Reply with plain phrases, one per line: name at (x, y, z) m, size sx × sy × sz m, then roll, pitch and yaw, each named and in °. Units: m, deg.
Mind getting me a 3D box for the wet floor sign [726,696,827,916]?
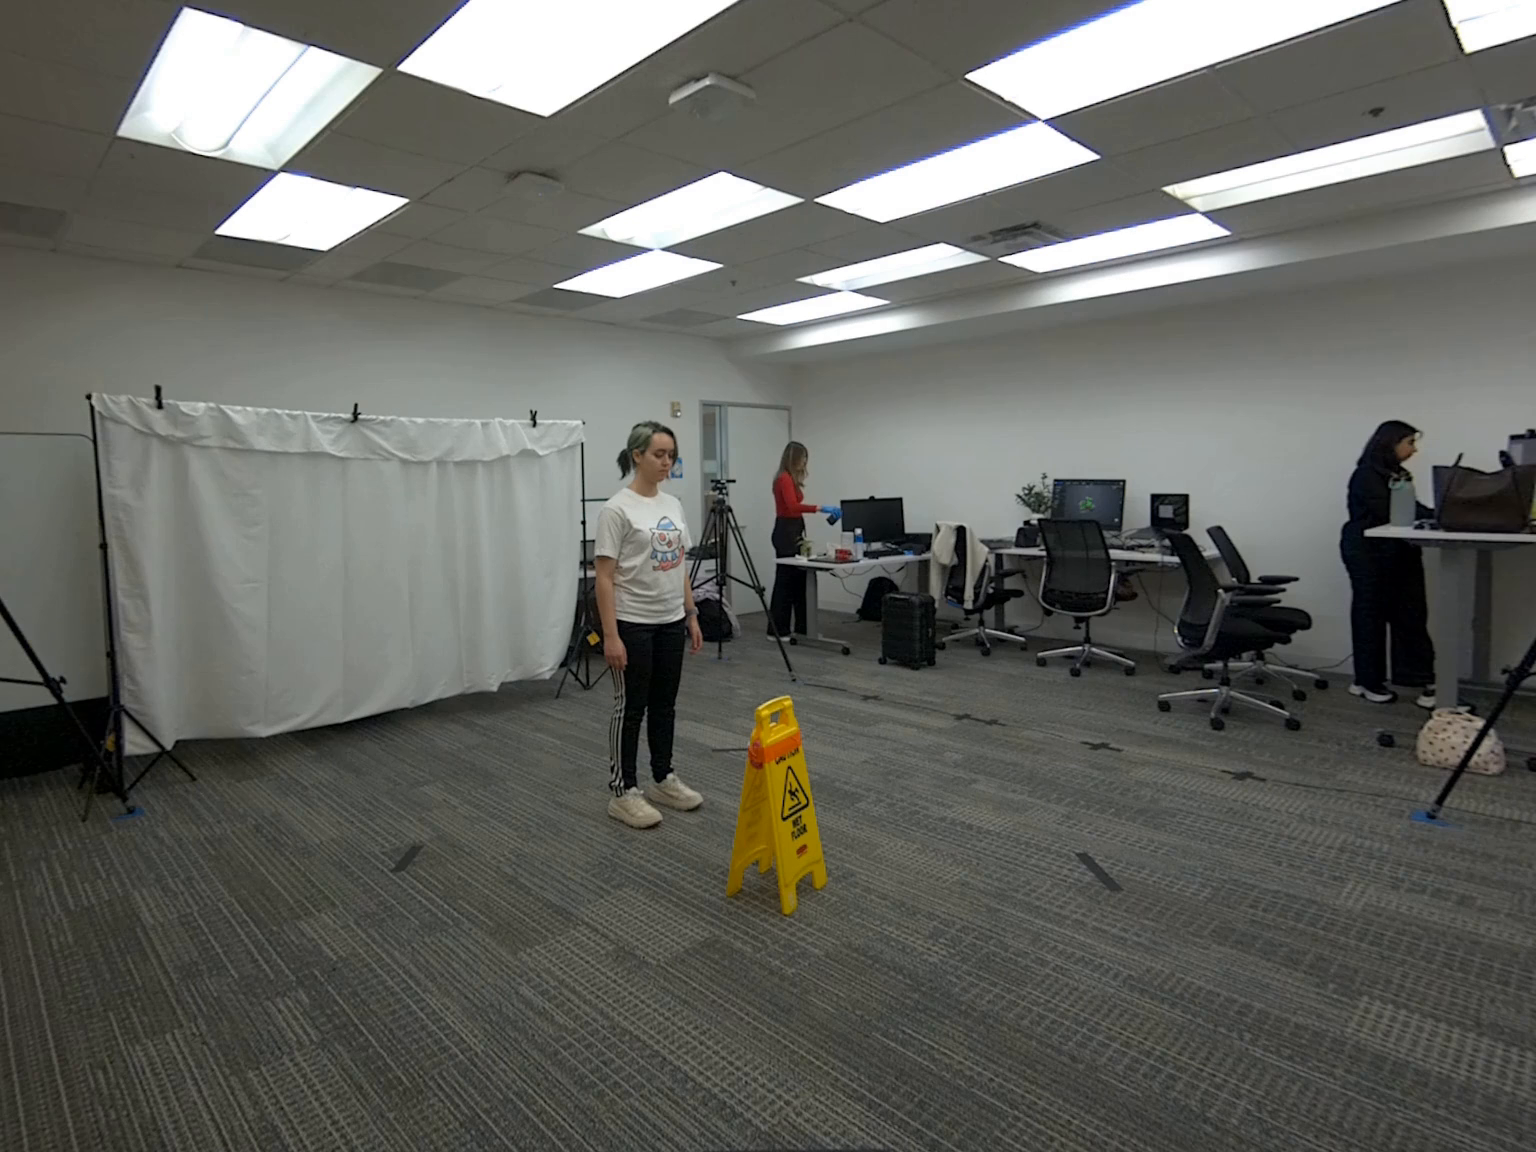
wet floor sign at (0.032, 0.744, 2.887) m, size 0.298 × 0.643 × 0.276 m, roll 3°, pitch 6°, yaw 33°
